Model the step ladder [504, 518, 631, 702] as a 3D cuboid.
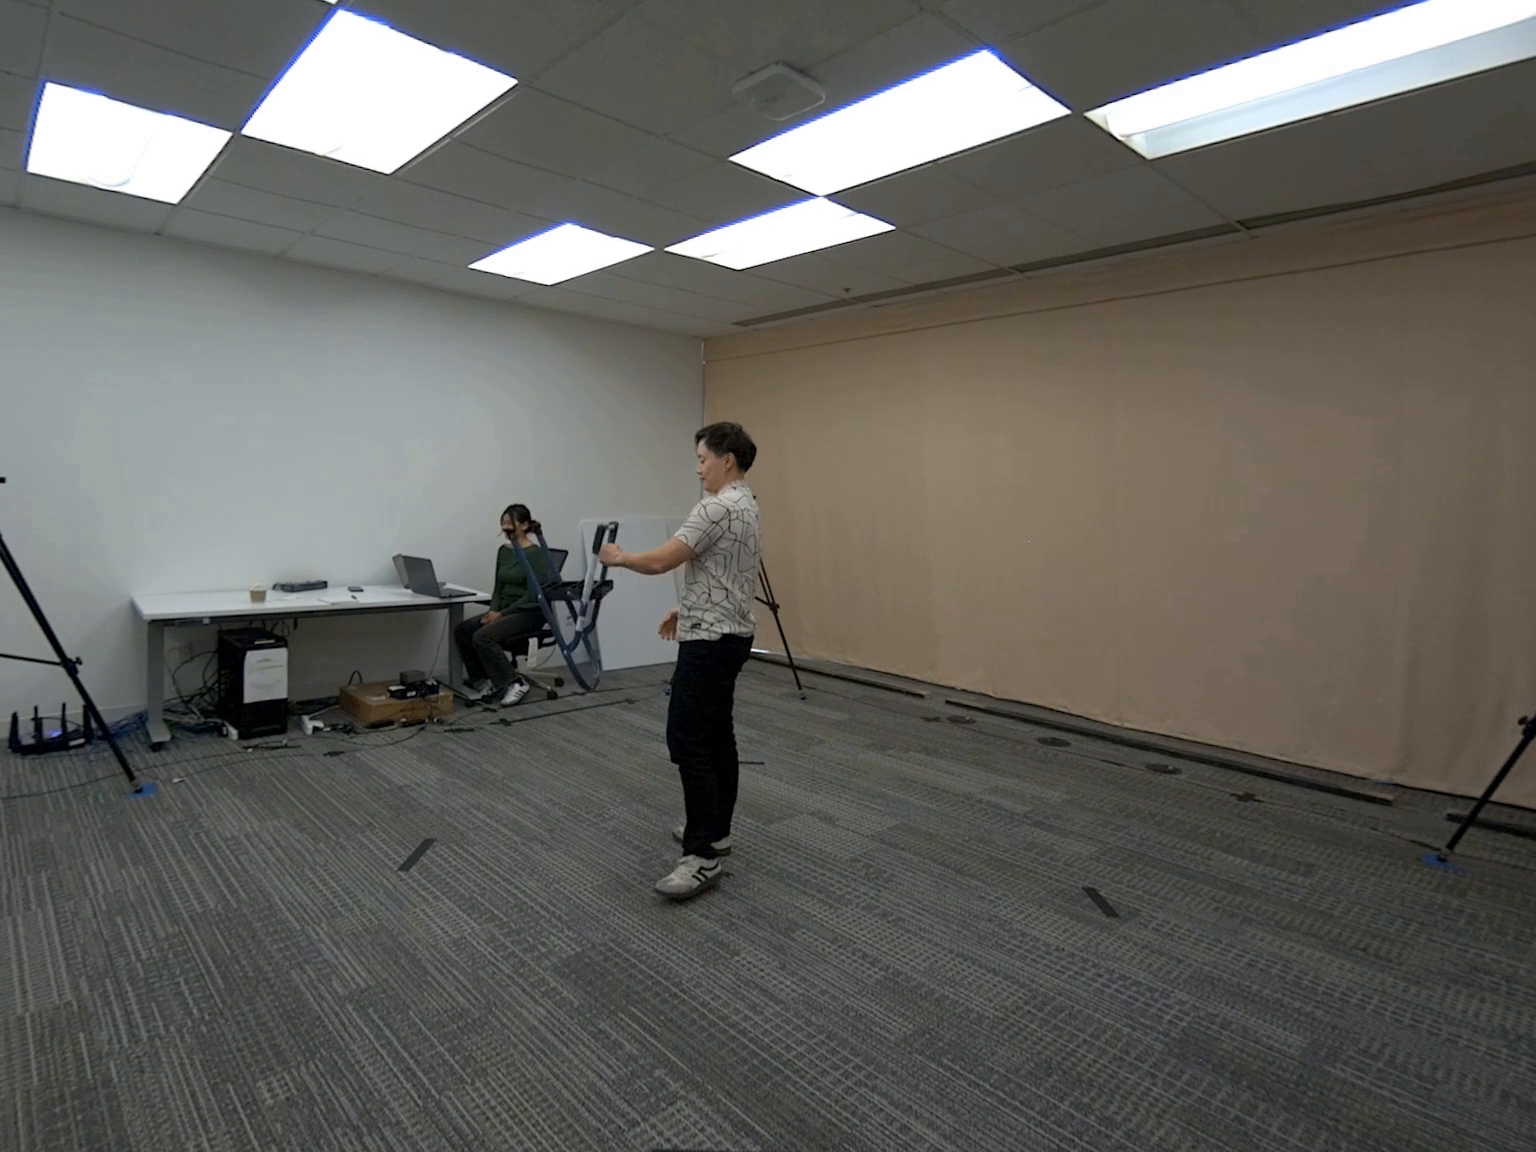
[{"bbox_3d":[-0.723,0.101,3.119,0.349,0.604,0.432,-2,4,-1],"label":"step ladder"}]
